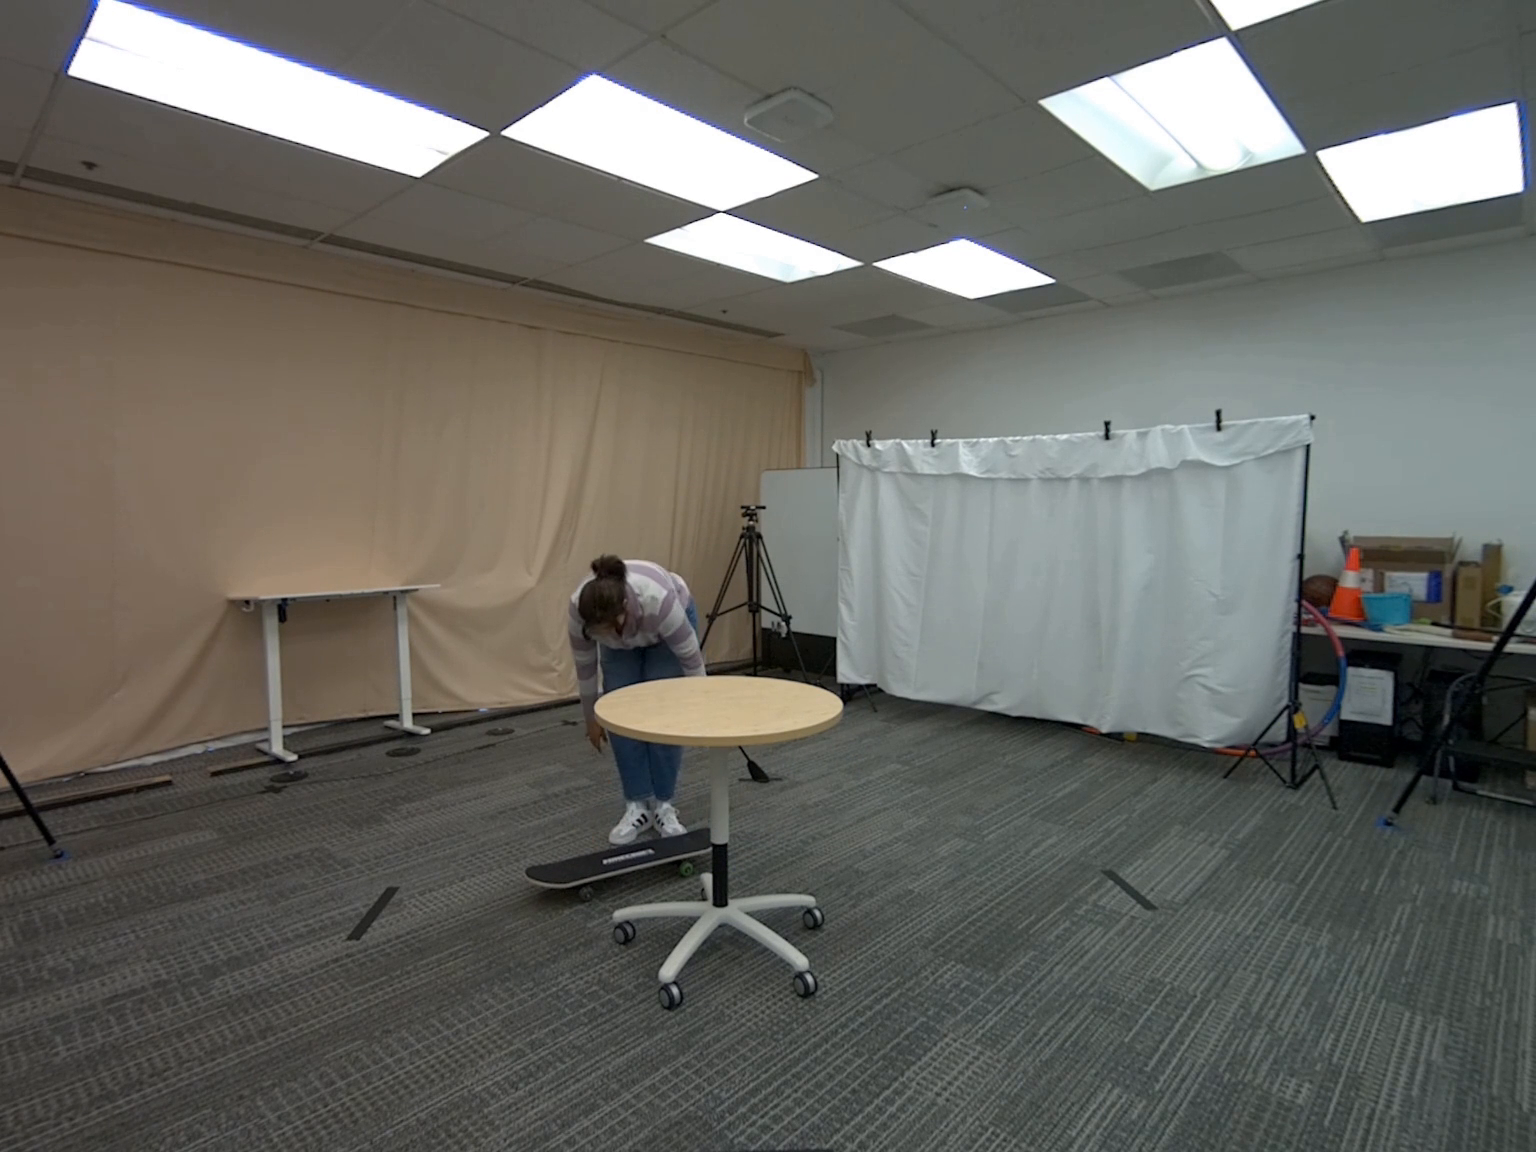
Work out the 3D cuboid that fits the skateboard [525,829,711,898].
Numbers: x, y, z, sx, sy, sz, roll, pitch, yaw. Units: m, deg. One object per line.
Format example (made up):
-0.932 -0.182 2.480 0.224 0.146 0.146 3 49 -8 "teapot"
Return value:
-0.521 1.075 3.138 0.765 0.110 0.199 -3 5 -30 "skateboard"
